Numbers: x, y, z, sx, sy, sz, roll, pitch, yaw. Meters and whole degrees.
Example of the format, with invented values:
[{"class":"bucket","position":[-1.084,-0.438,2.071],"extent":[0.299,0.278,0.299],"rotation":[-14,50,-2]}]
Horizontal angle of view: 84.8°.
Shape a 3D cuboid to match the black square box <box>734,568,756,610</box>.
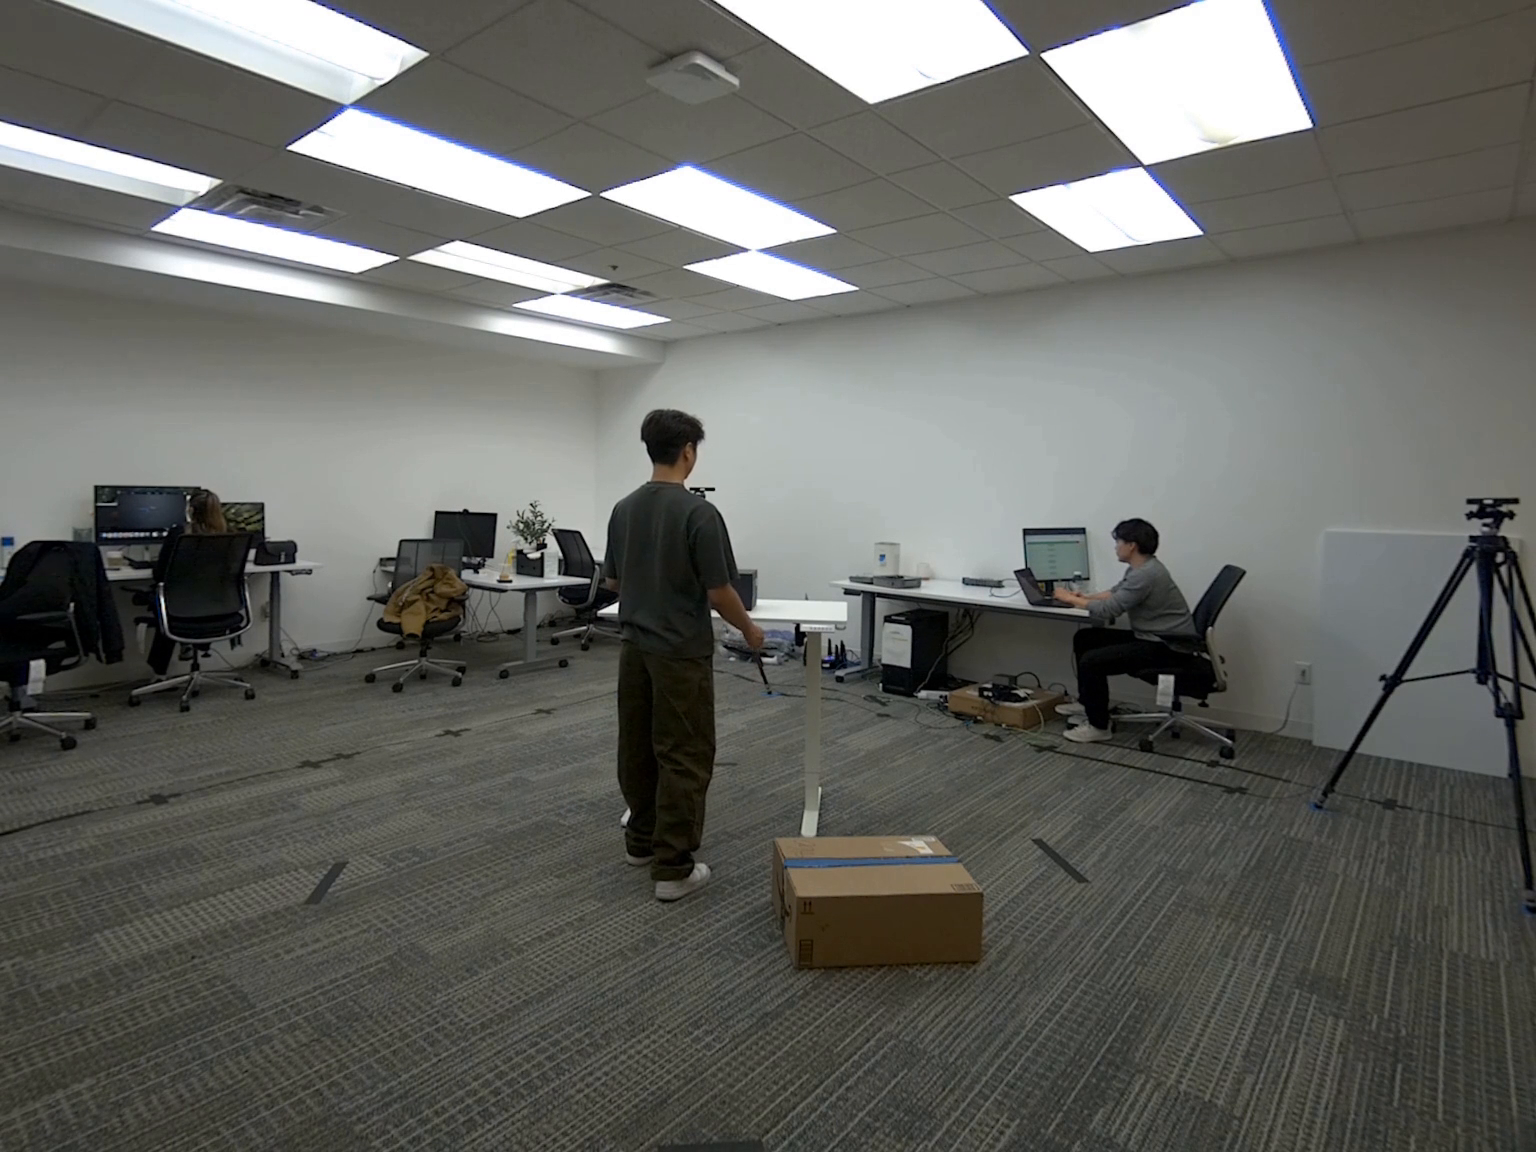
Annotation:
[{"class":"black square box","position":[-0.181,0.049,3.664],"extent":[0.230,0.155,0.216],"rotation":[0,4,8]}]
